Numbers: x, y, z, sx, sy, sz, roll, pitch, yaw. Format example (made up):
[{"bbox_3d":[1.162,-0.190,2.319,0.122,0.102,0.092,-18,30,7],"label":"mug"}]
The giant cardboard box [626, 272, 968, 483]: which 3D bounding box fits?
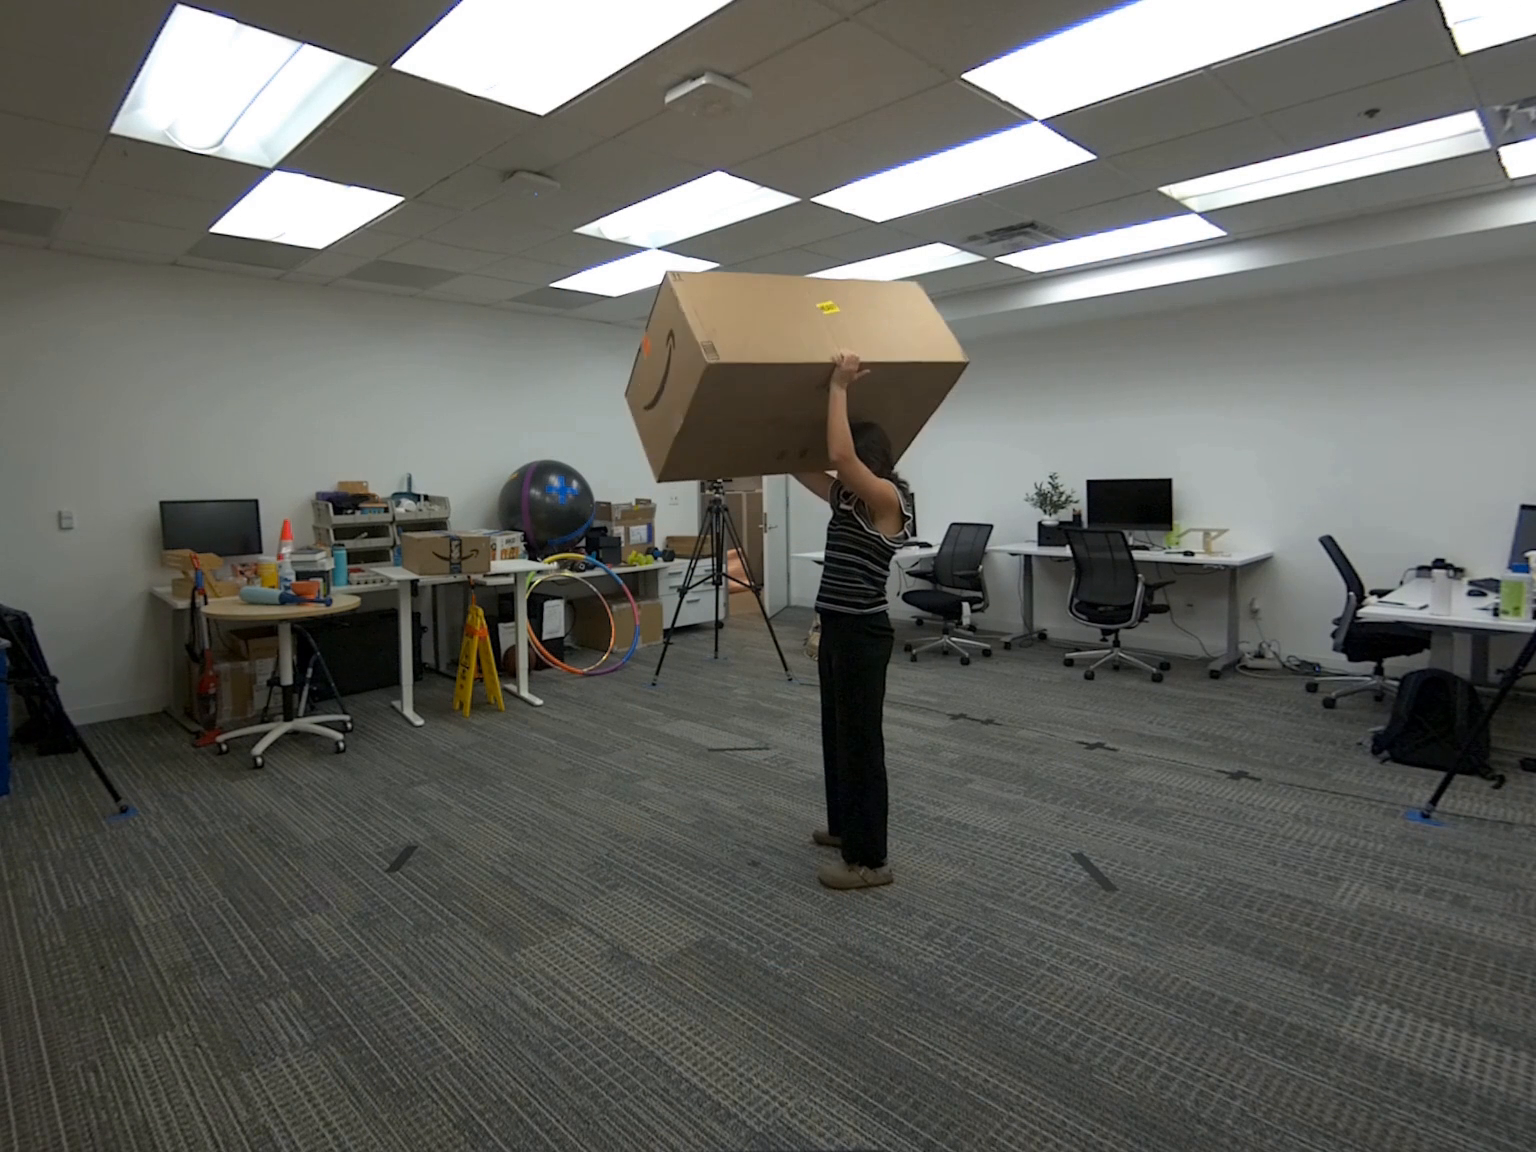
[{"bbox_3d":[0.079,-0.693,3.060,1.005,0.439,0.572,-7,-31,-27],"label":"giant cardboard box"}]
